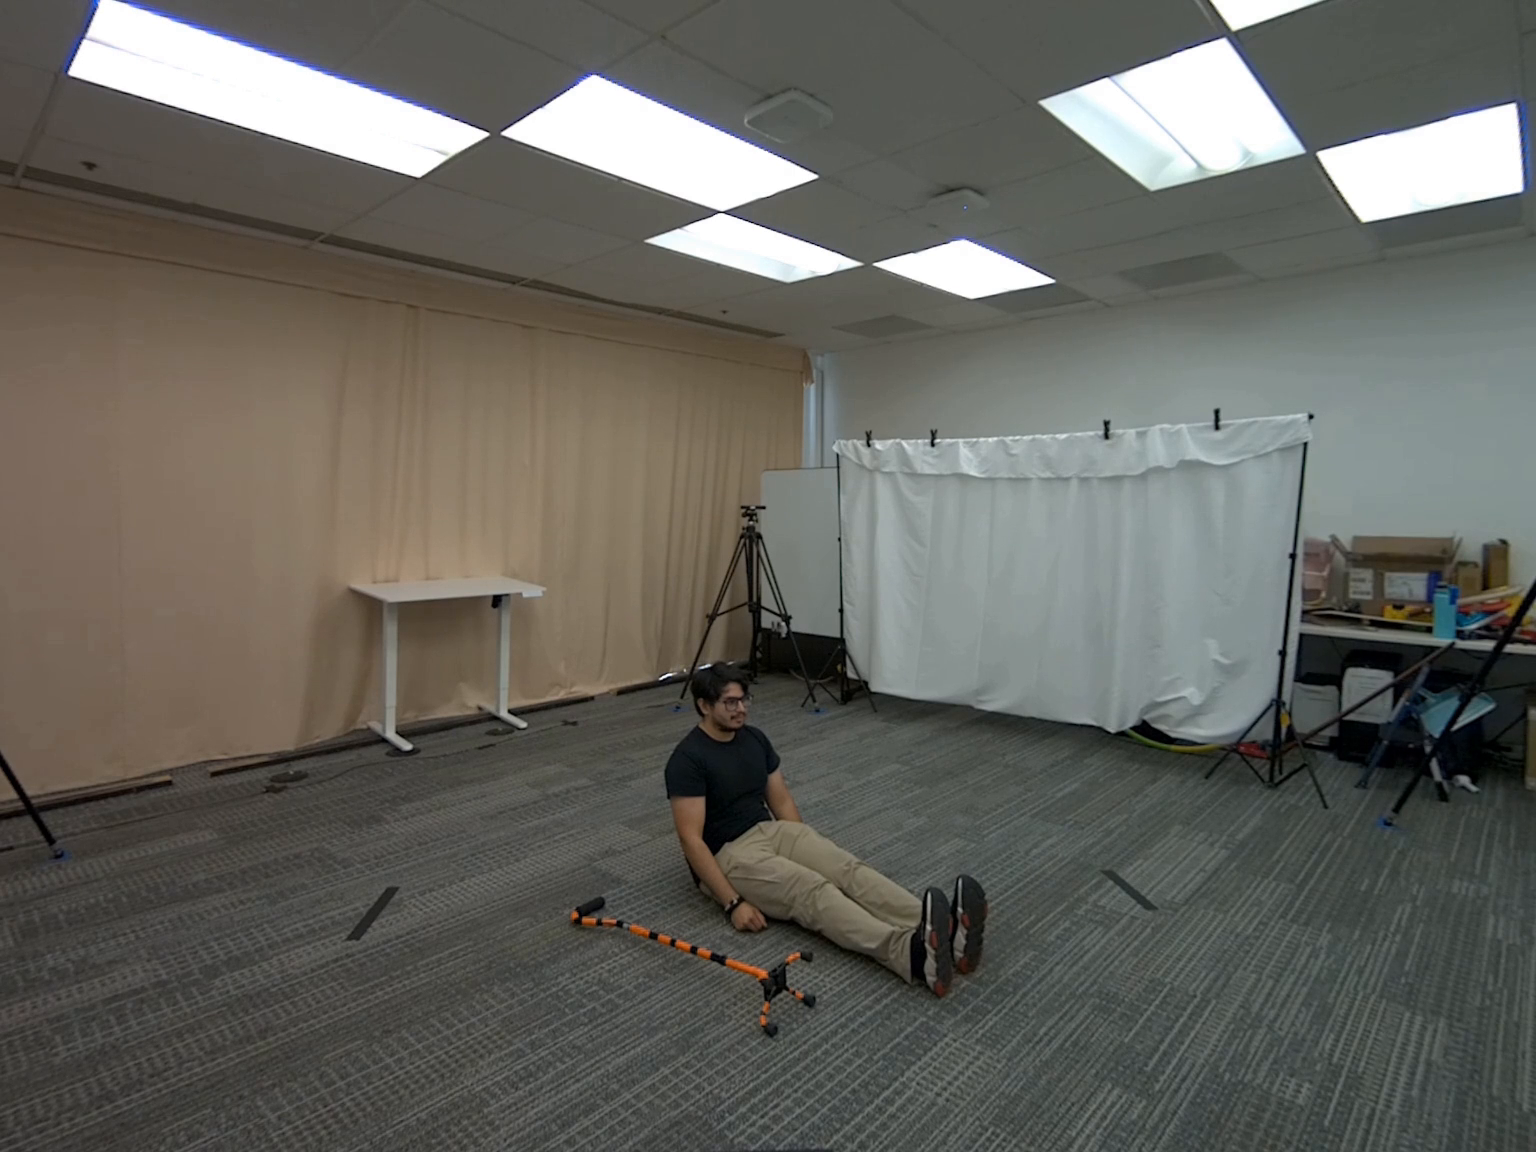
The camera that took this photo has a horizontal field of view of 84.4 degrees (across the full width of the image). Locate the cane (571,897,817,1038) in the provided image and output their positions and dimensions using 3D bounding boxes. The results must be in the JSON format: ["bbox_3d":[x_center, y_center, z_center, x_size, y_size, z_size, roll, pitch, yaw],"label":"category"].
[{"bbox_3d":[-0.281,1.126,2.578,0.936,0.151,0.200,-3,3,40],"label":"cane"}]
